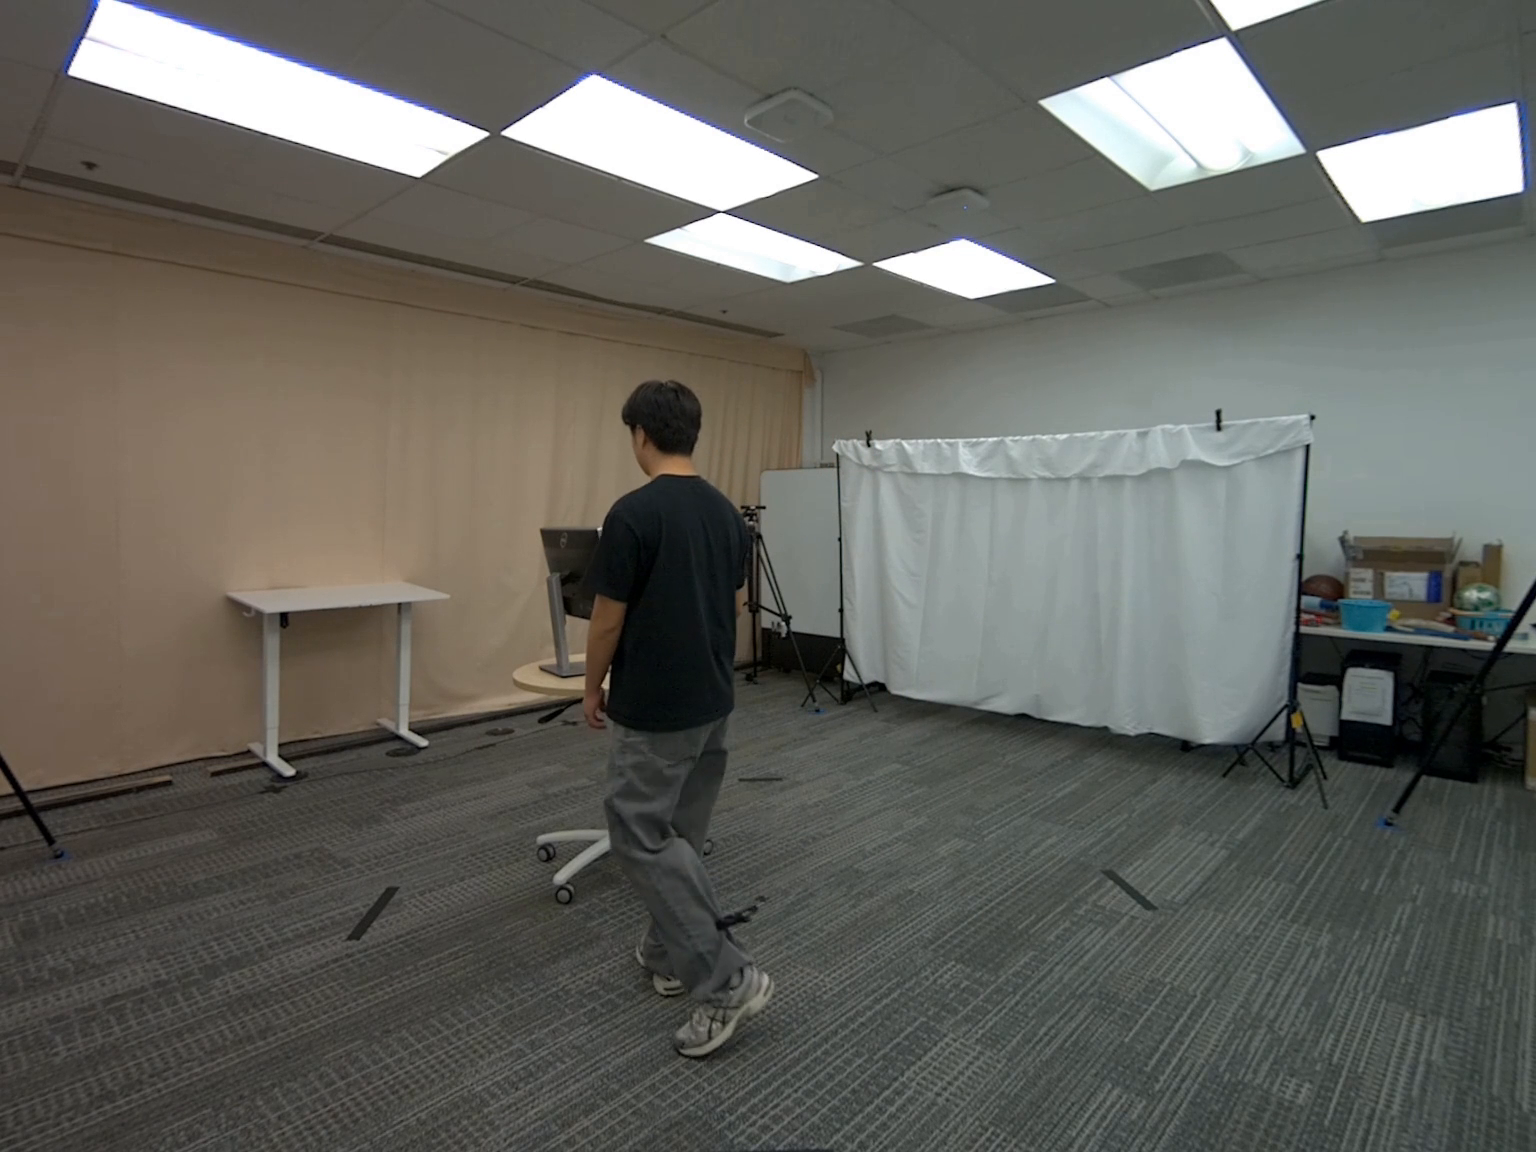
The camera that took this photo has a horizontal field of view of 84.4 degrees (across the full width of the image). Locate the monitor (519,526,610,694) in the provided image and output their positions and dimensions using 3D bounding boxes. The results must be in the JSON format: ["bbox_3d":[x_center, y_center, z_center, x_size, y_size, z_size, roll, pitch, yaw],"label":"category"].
[{"bbox_3d":[-0.737,0.098,3.173,0.216,0.565,0.579,0,3,-33],"label":"monitor"}]
